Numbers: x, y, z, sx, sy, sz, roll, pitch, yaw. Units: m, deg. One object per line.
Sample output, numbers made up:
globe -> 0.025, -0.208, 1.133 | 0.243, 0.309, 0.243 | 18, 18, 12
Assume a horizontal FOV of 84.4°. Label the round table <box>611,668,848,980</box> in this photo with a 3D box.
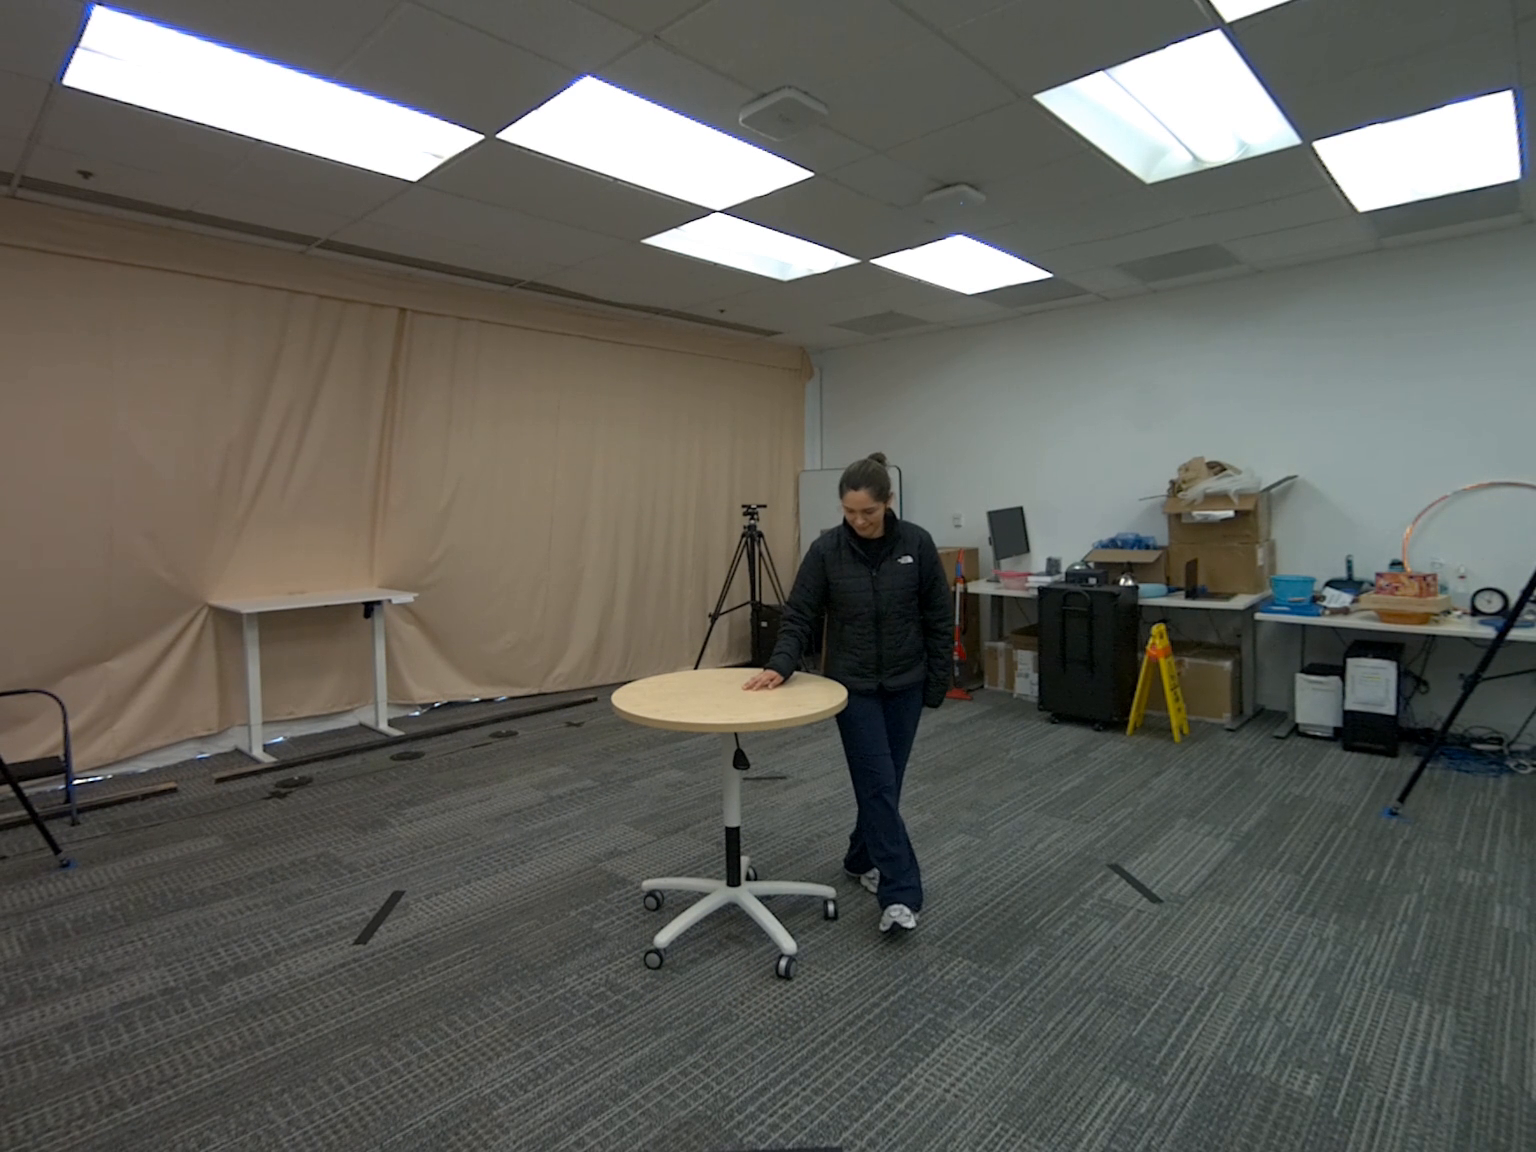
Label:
round table -> -0.114, 0.767, 2.778 | 0.784, 0.784, 0.788 | -1, 4, -2
